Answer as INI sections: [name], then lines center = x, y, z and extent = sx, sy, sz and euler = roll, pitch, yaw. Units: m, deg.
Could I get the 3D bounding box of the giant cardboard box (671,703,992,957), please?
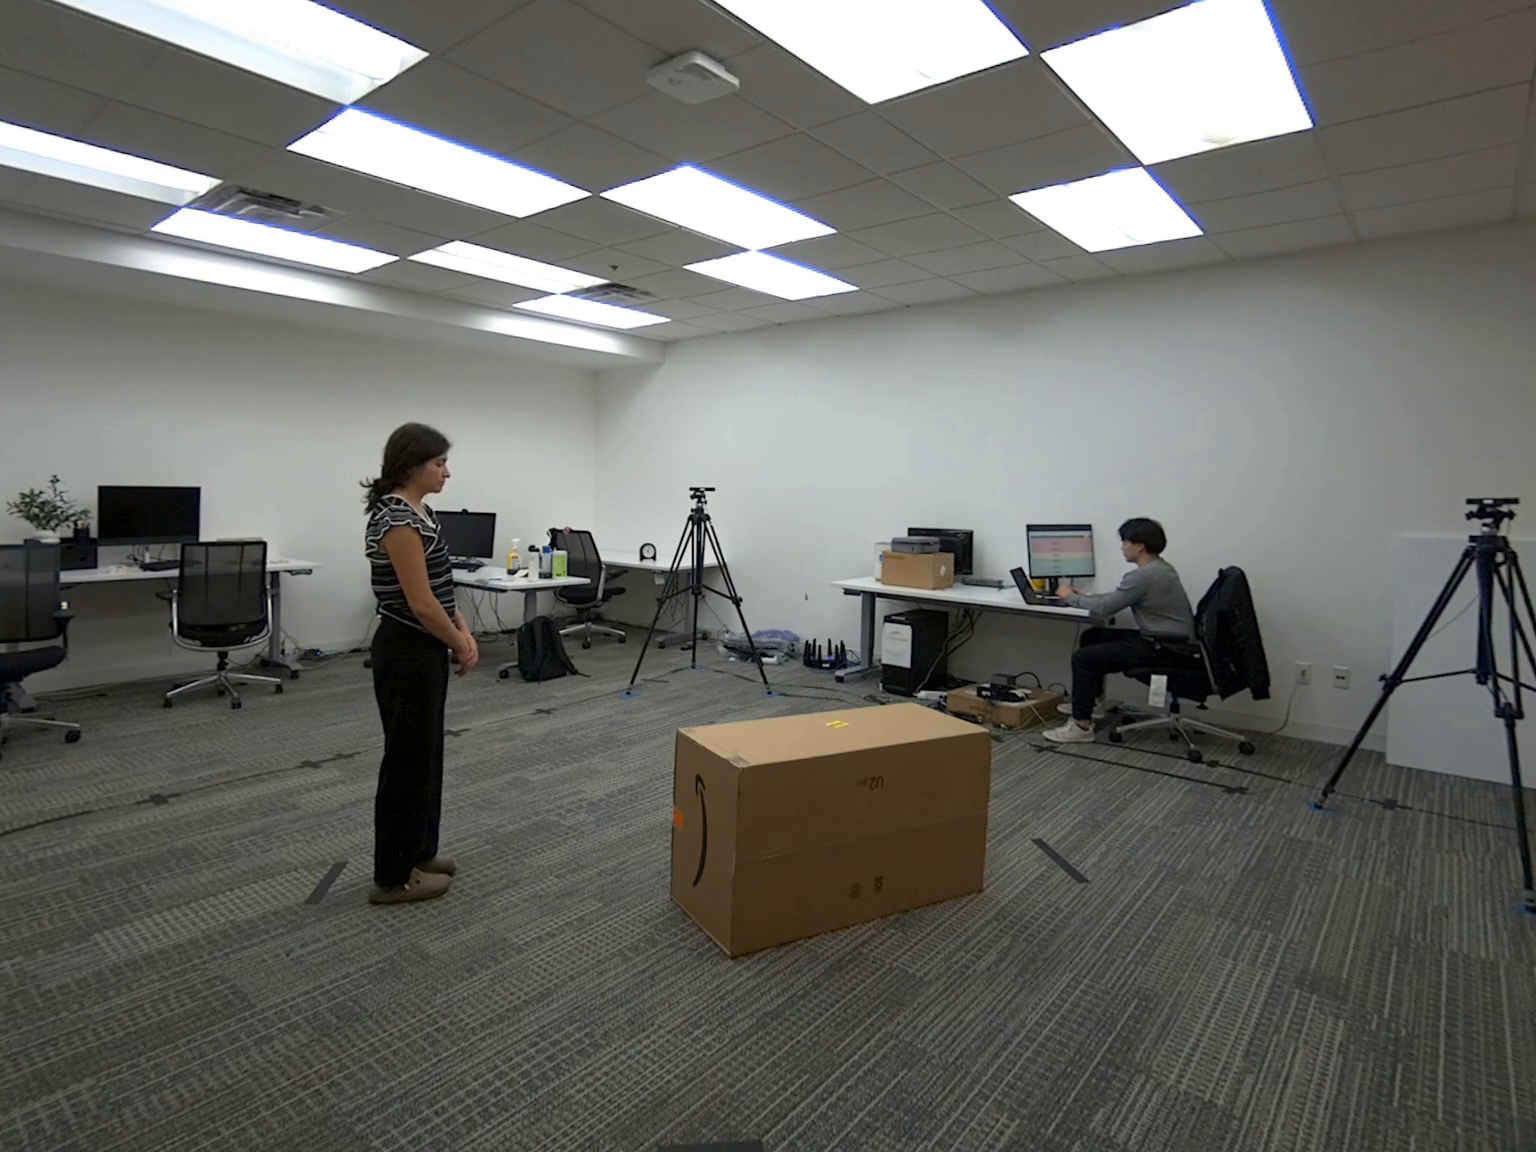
[giant cardboard box]
center = 0.217, 0.811, 2.913
extent = 0.999, 0.575, 0.439
euler = -1, 5, -29
